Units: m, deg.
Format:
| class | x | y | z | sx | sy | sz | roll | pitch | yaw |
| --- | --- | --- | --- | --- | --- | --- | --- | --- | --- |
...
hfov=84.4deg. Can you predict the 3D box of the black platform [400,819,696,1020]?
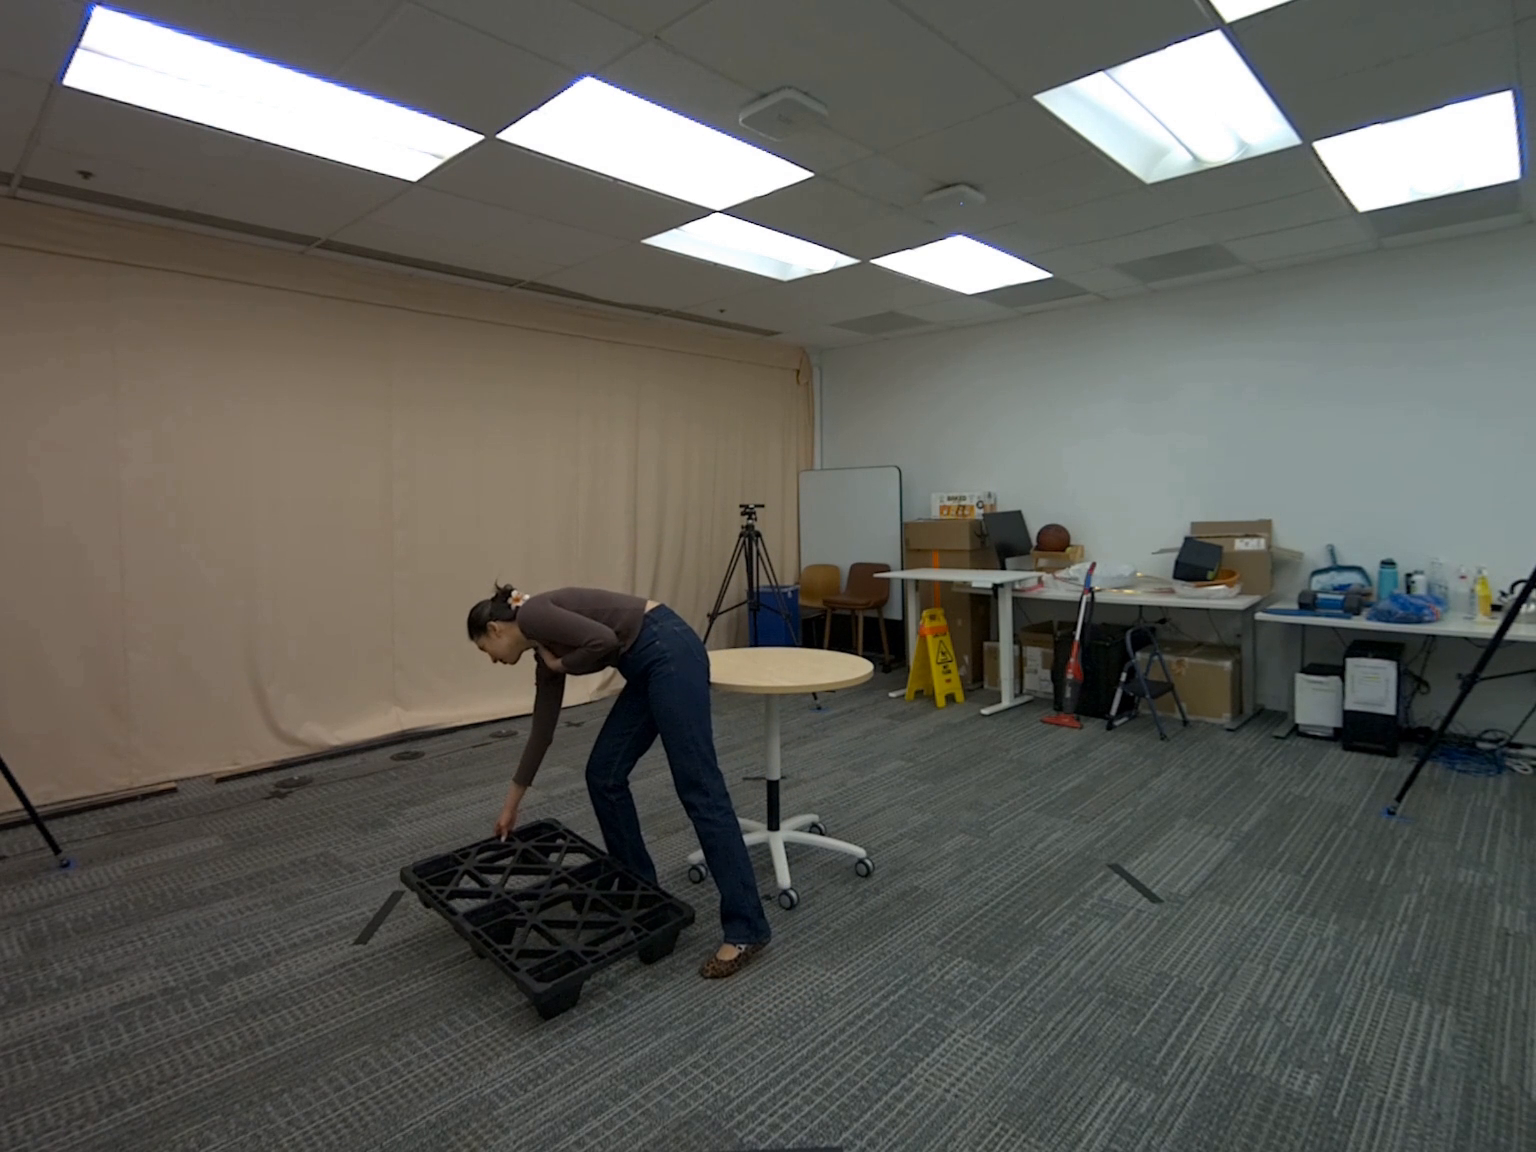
| class | x | y | z | sx | sy | sz | roll | pitch | yaw |
| --- | --- | --- | --- | --- | --- | --- | --- | --- | --- |
| black platform | -0.721 | 1.066 | 2.699 | 0.834 | 0.142 | 0.587 | 14 | 13 | 41 |
